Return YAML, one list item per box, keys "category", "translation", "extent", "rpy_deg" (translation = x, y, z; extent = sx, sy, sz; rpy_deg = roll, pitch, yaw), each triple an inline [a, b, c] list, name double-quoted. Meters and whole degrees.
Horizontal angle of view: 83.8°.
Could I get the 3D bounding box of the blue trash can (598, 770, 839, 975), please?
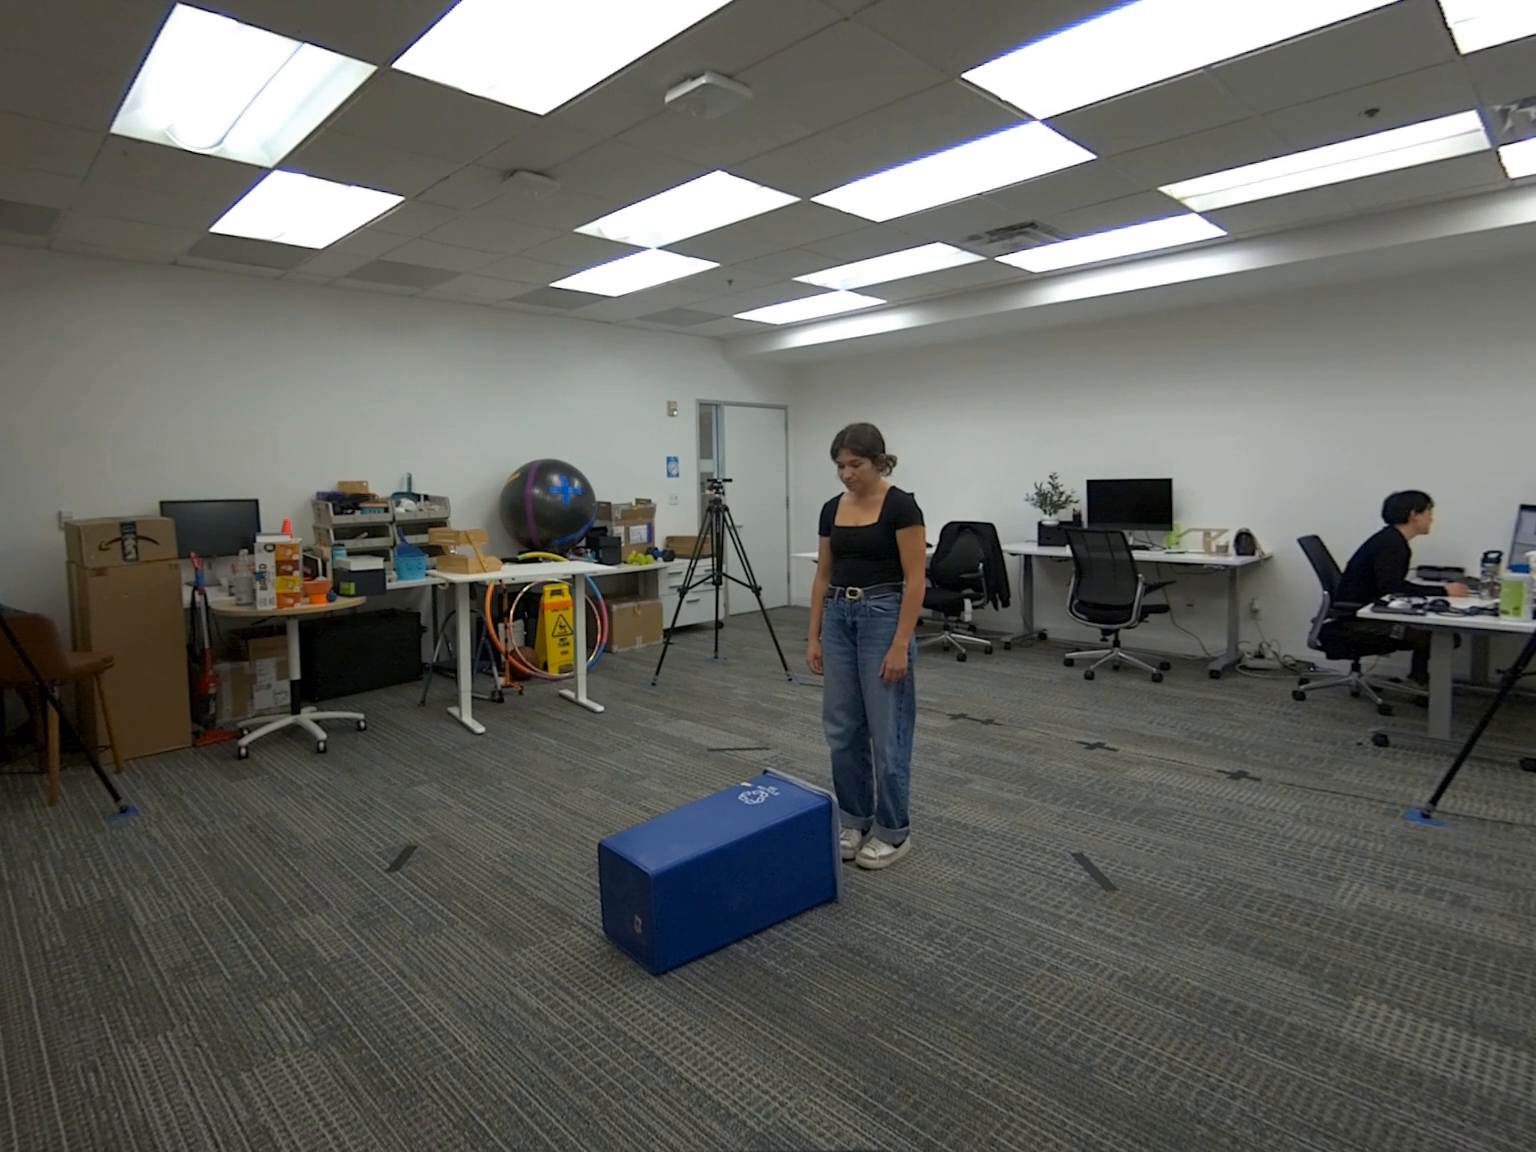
- category: "blue trash can"
  translation: [-0.144, 0.926, 2.714]
  extent: [0.696, 0.375, 0.386]
  rpy_deg: [-10, 10, -39]
